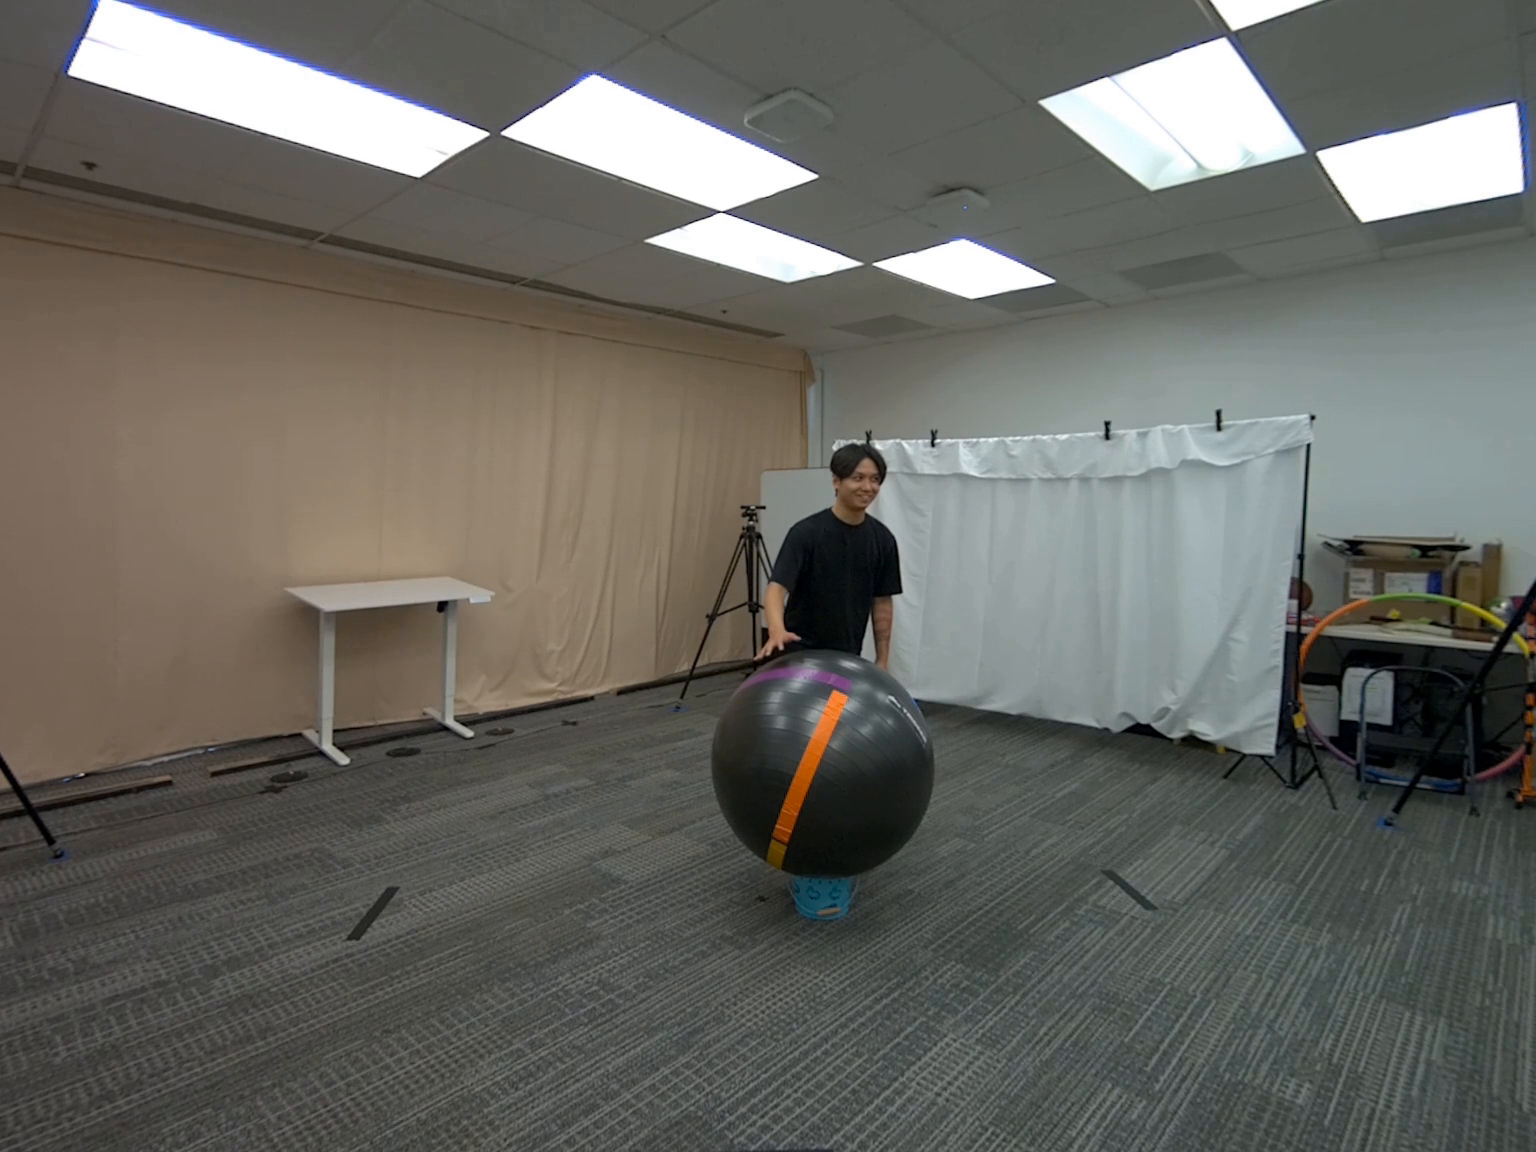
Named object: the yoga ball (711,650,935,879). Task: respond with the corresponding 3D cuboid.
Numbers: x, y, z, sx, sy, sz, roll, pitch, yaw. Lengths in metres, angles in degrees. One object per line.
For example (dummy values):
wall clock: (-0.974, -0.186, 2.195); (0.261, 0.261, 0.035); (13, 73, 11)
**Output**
yoga ball: (0.186, 0.637, 2.890); (0.757, 0.756, 0.760); (0, 4, -2)
